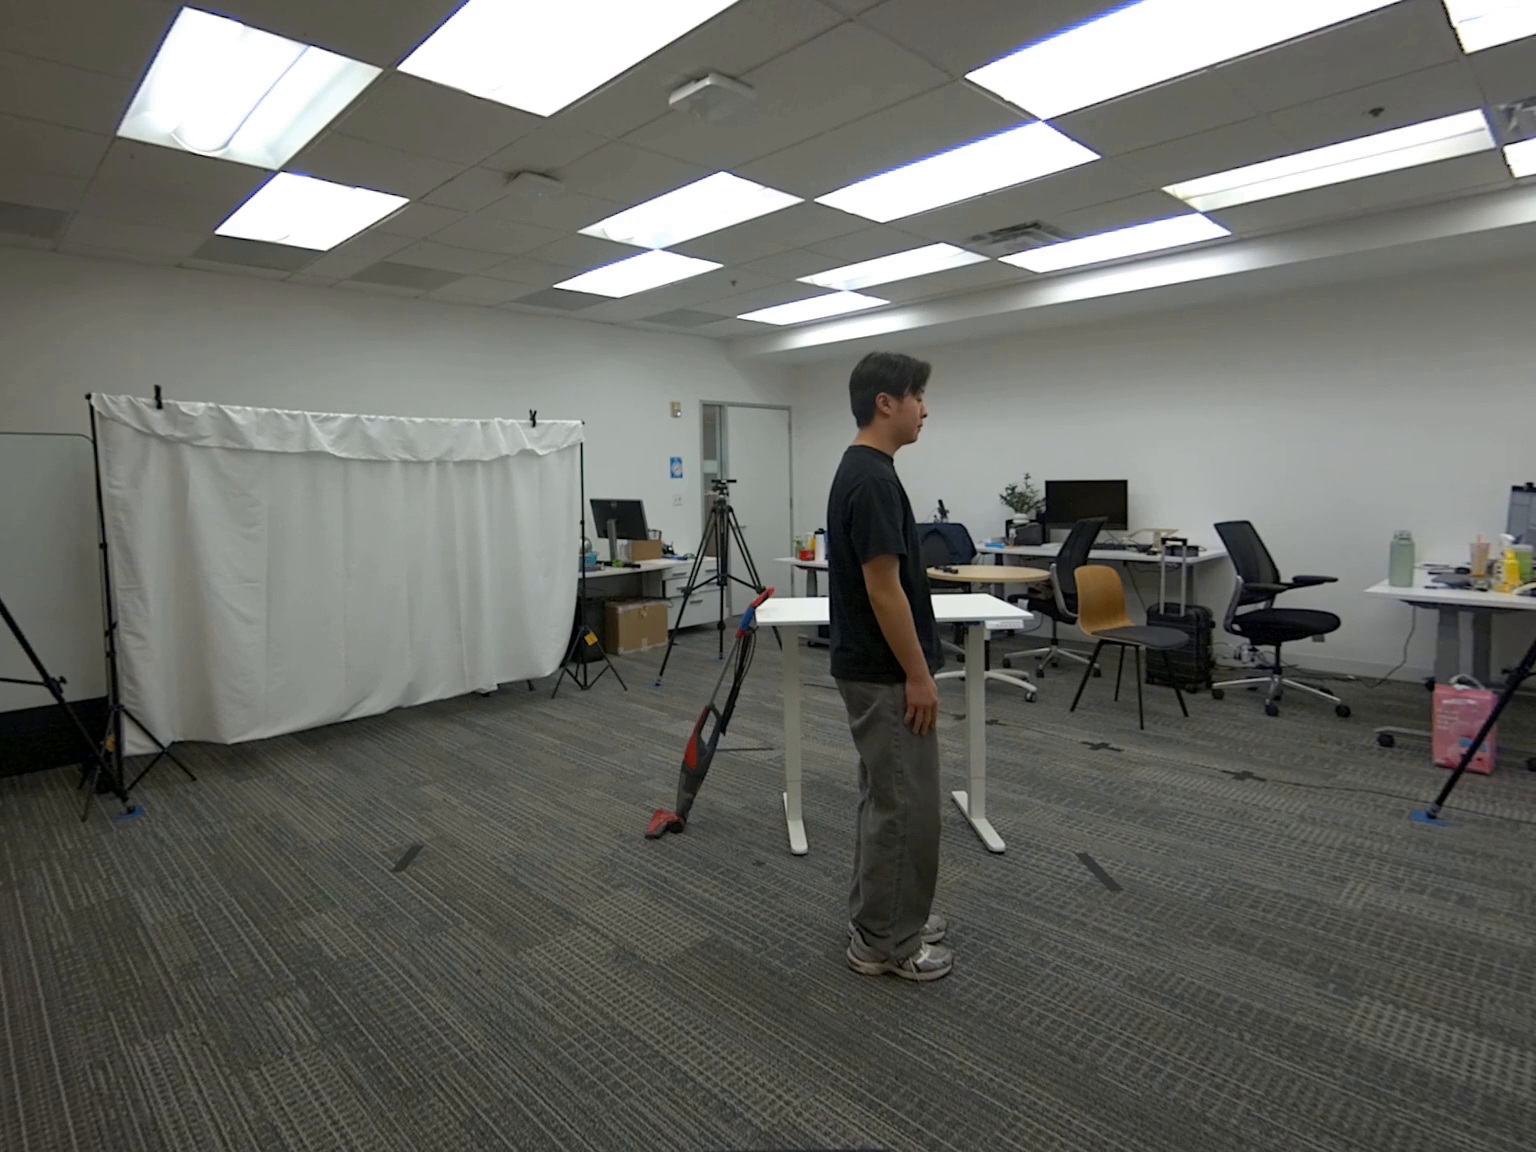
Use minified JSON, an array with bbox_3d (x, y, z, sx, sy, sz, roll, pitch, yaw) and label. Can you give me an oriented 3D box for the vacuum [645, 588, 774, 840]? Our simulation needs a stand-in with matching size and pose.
[{"bbox_3d":[-0.197,0.533,3.408,0.144,1.046,0.254,23,6,-3],"label":"vacuum"}]
